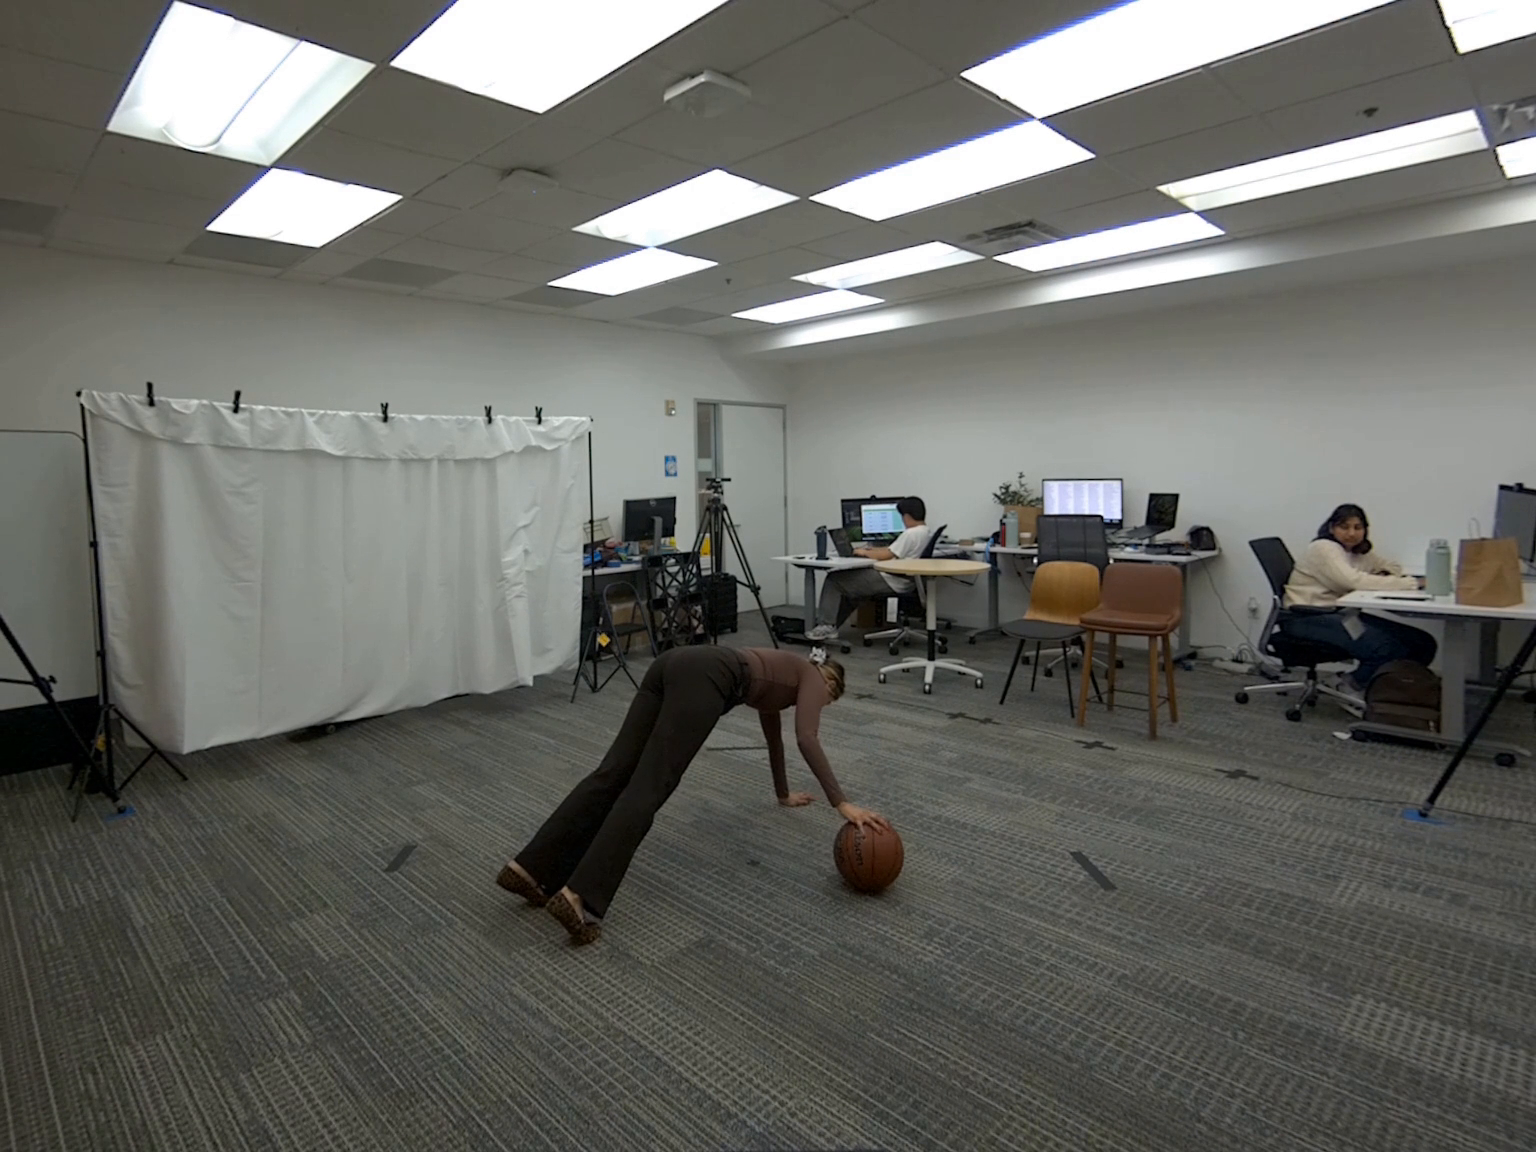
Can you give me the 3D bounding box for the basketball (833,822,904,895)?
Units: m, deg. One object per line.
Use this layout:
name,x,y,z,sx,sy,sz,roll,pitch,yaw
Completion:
basketball,0.341,0.934,2.906,0.236,0.235,0.237,-1,5,-2
